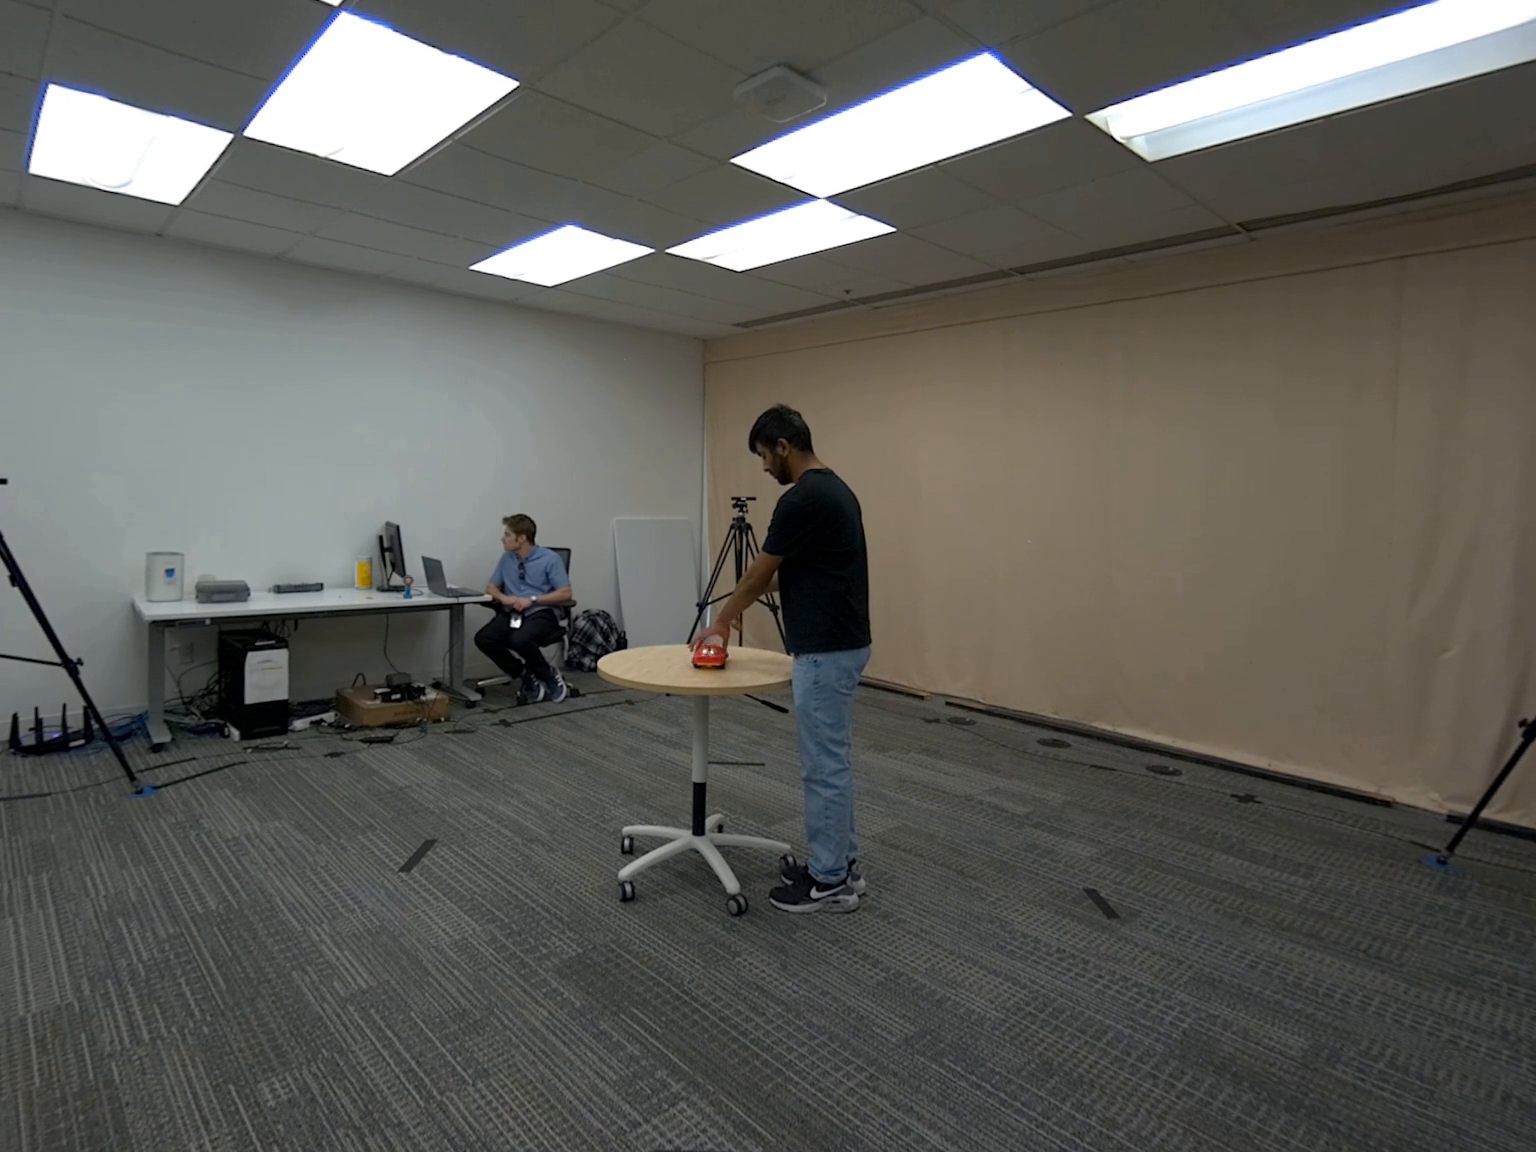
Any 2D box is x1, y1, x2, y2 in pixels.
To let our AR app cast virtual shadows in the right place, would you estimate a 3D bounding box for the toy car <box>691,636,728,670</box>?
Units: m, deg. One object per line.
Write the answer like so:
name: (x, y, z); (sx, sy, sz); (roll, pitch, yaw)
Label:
toy car: (-0.214, 0.295, 3.062); (0.130, 0.083, 0.253); (2, -5, -1)
